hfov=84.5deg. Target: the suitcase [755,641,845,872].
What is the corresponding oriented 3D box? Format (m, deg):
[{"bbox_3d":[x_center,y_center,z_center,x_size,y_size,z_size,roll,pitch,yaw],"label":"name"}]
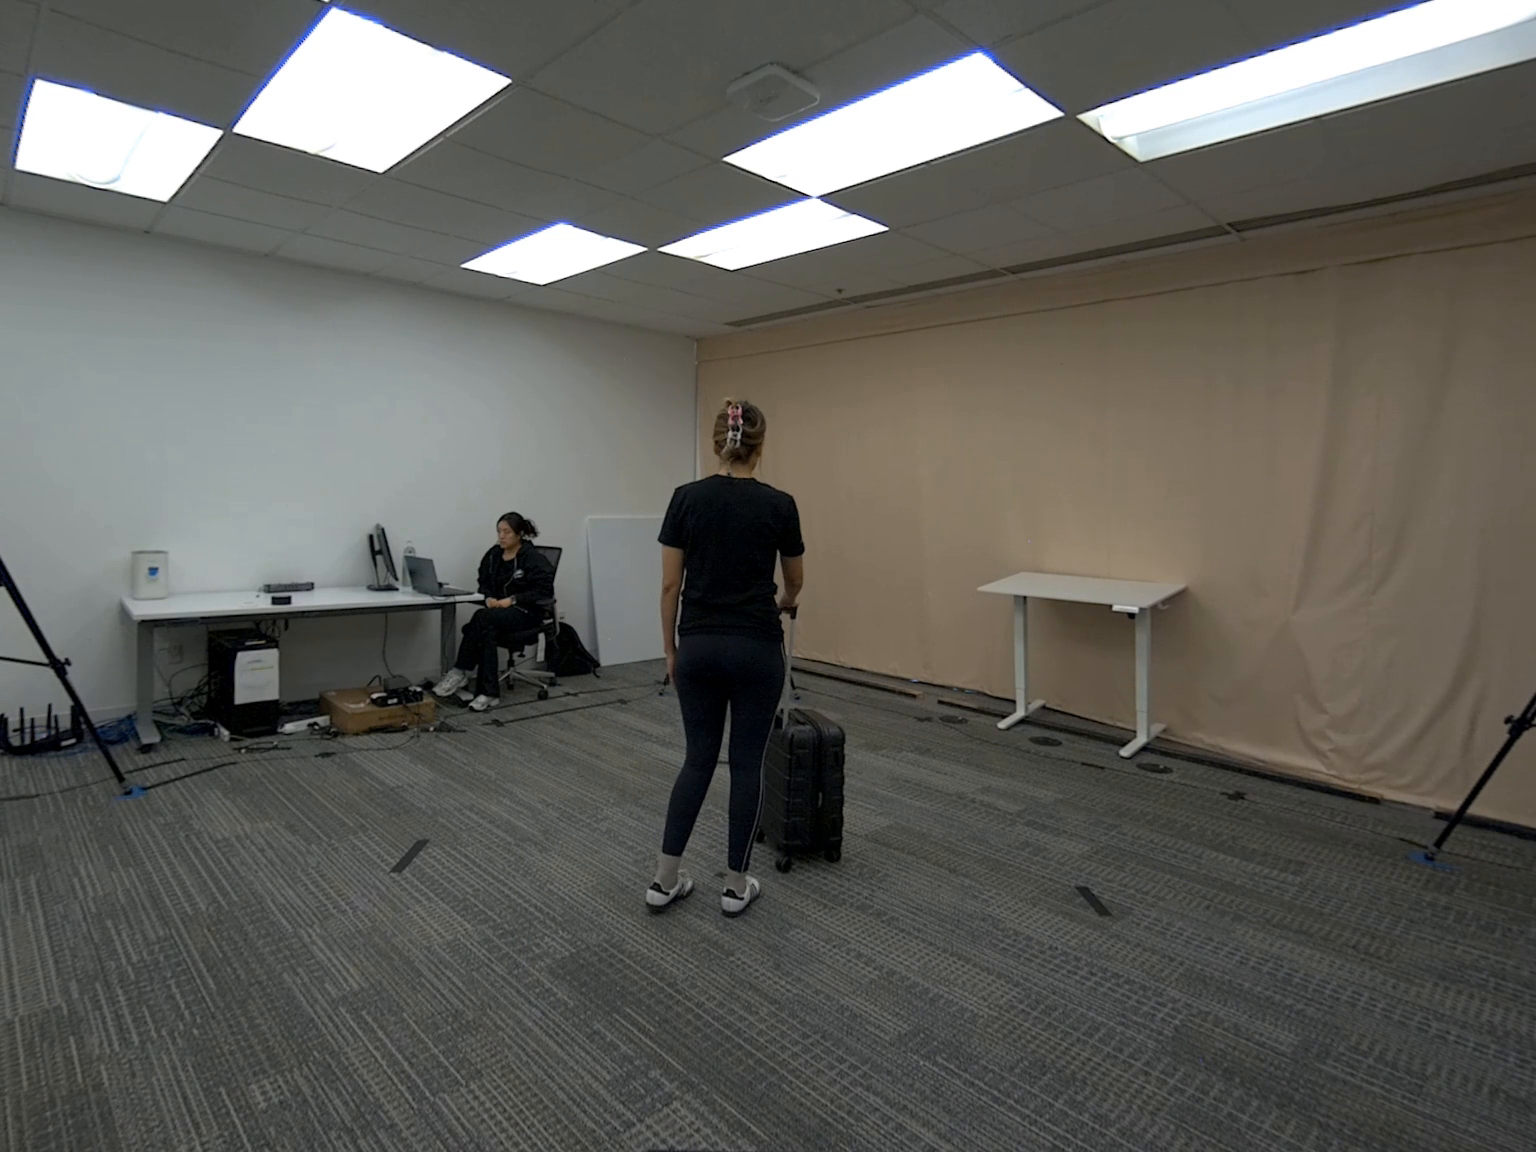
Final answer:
[{"bbox_3d":[0.137,0.610,3.324,0.254,0.978,0.389,4,1,-16],"label":"suitcase"}]
